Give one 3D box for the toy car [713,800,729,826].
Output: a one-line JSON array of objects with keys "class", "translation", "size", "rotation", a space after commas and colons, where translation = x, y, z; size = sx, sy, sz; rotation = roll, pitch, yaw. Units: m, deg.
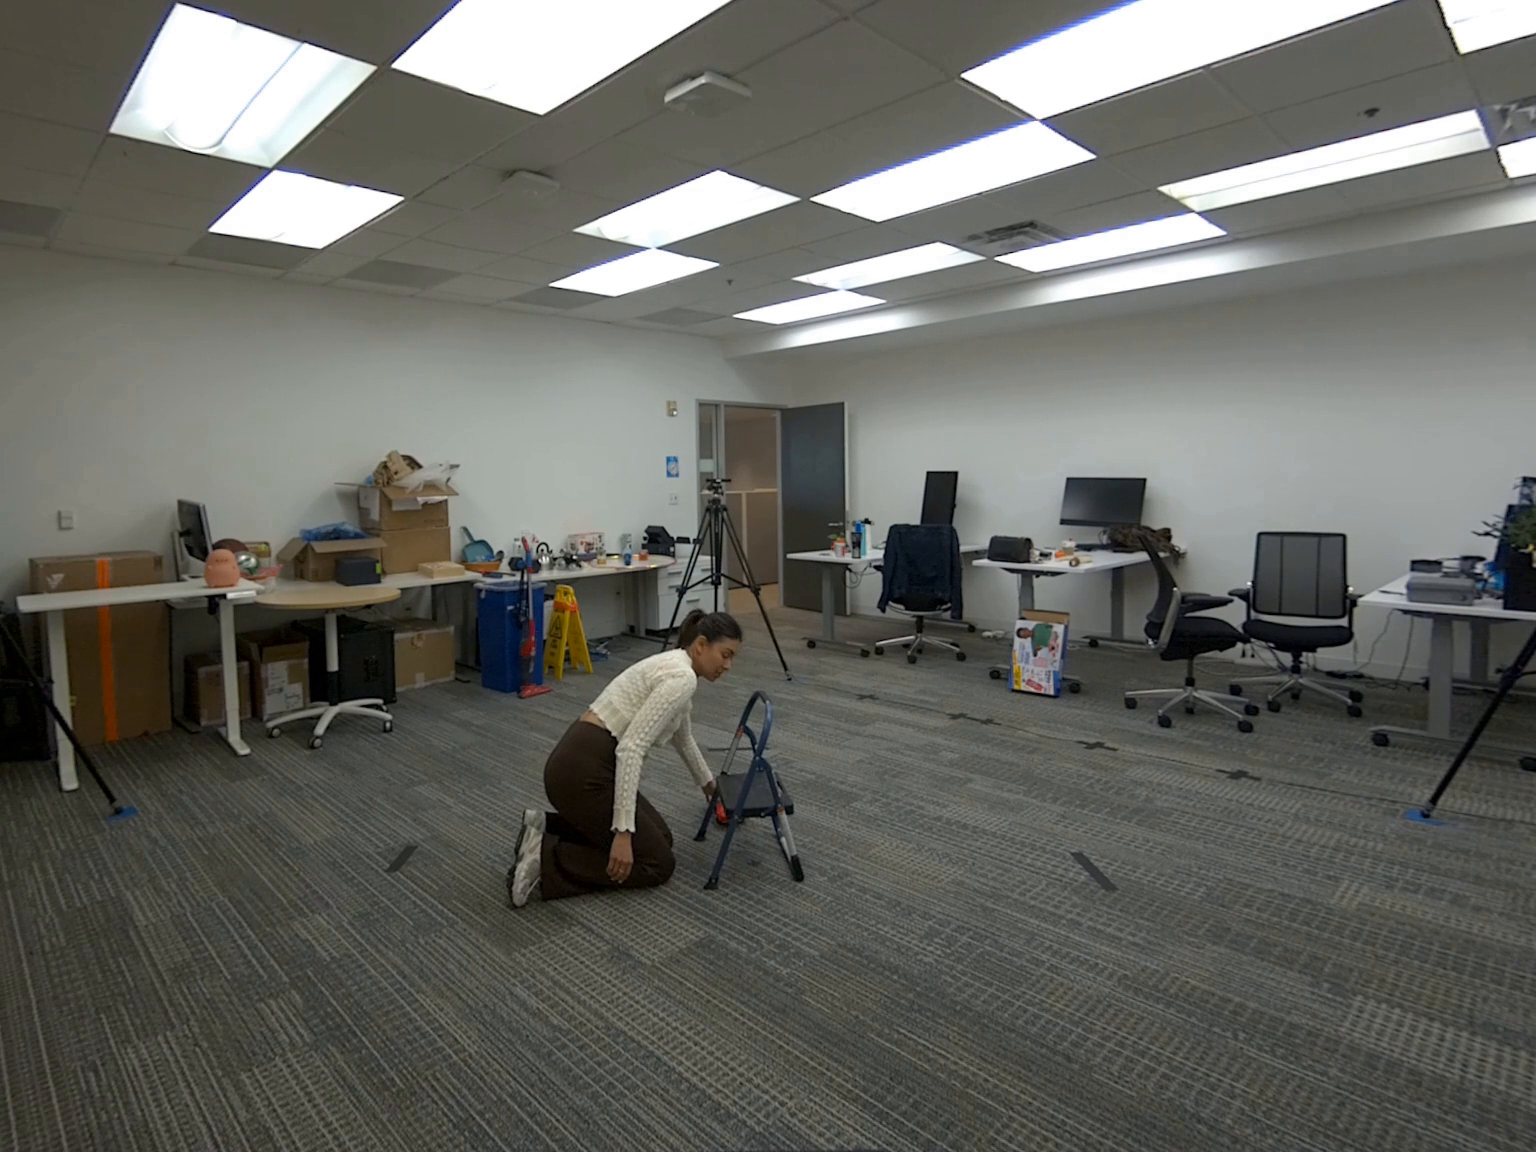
[{"class": "toy car", "translation": [-0.153, 0.969, 3.512], "size": [0.130, 0.084, 0.253], "rotation": [-1, -6, -5]}]
